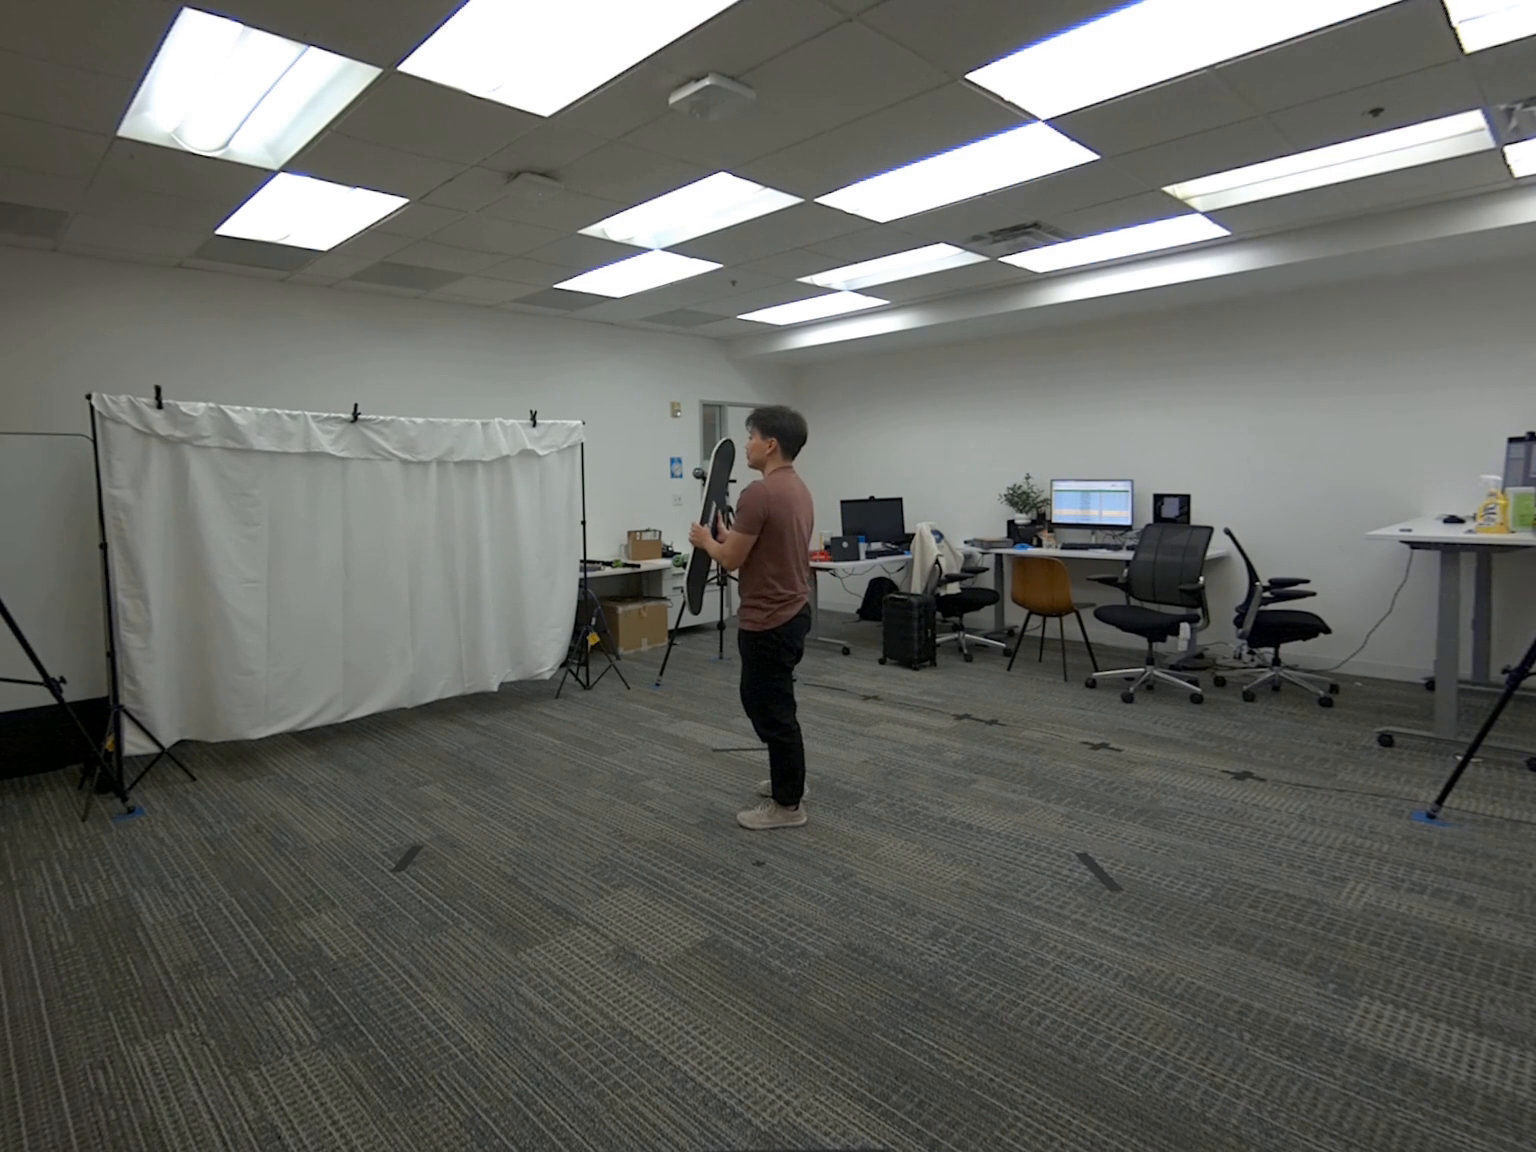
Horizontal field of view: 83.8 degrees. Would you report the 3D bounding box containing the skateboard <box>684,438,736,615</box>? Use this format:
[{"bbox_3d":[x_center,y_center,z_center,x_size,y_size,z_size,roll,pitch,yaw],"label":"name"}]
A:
[{"bbox_3d":[-0.272,-0.216,3.588,0.113,0.796,0.187,2,-21,23],"label":"skateboard"}]
